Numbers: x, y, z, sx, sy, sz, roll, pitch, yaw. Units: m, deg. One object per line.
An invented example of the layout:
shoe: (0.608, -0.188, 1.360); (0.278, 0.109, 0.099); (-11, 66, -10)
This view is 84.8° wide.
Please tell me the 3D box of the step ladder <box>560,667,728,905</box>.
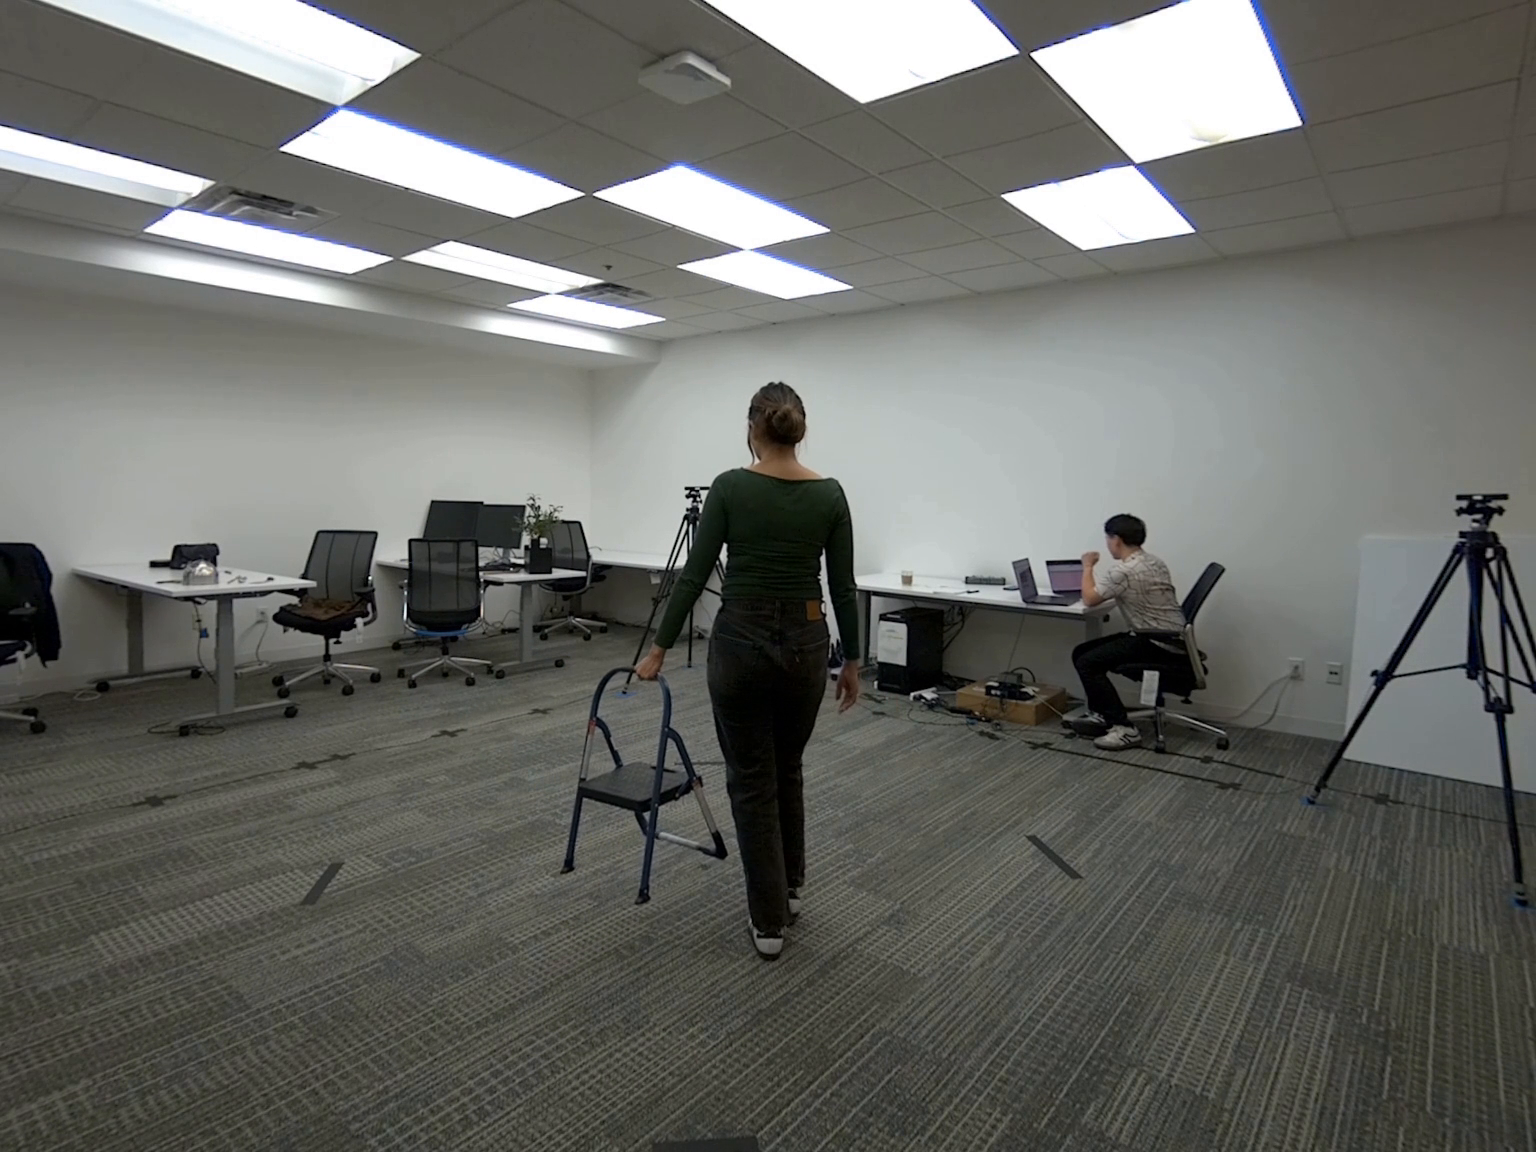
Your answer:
step ladder: (-0.432, 0.597, 2.622); (0.340, 0.605, 0.443); (-9, 3, -44)
